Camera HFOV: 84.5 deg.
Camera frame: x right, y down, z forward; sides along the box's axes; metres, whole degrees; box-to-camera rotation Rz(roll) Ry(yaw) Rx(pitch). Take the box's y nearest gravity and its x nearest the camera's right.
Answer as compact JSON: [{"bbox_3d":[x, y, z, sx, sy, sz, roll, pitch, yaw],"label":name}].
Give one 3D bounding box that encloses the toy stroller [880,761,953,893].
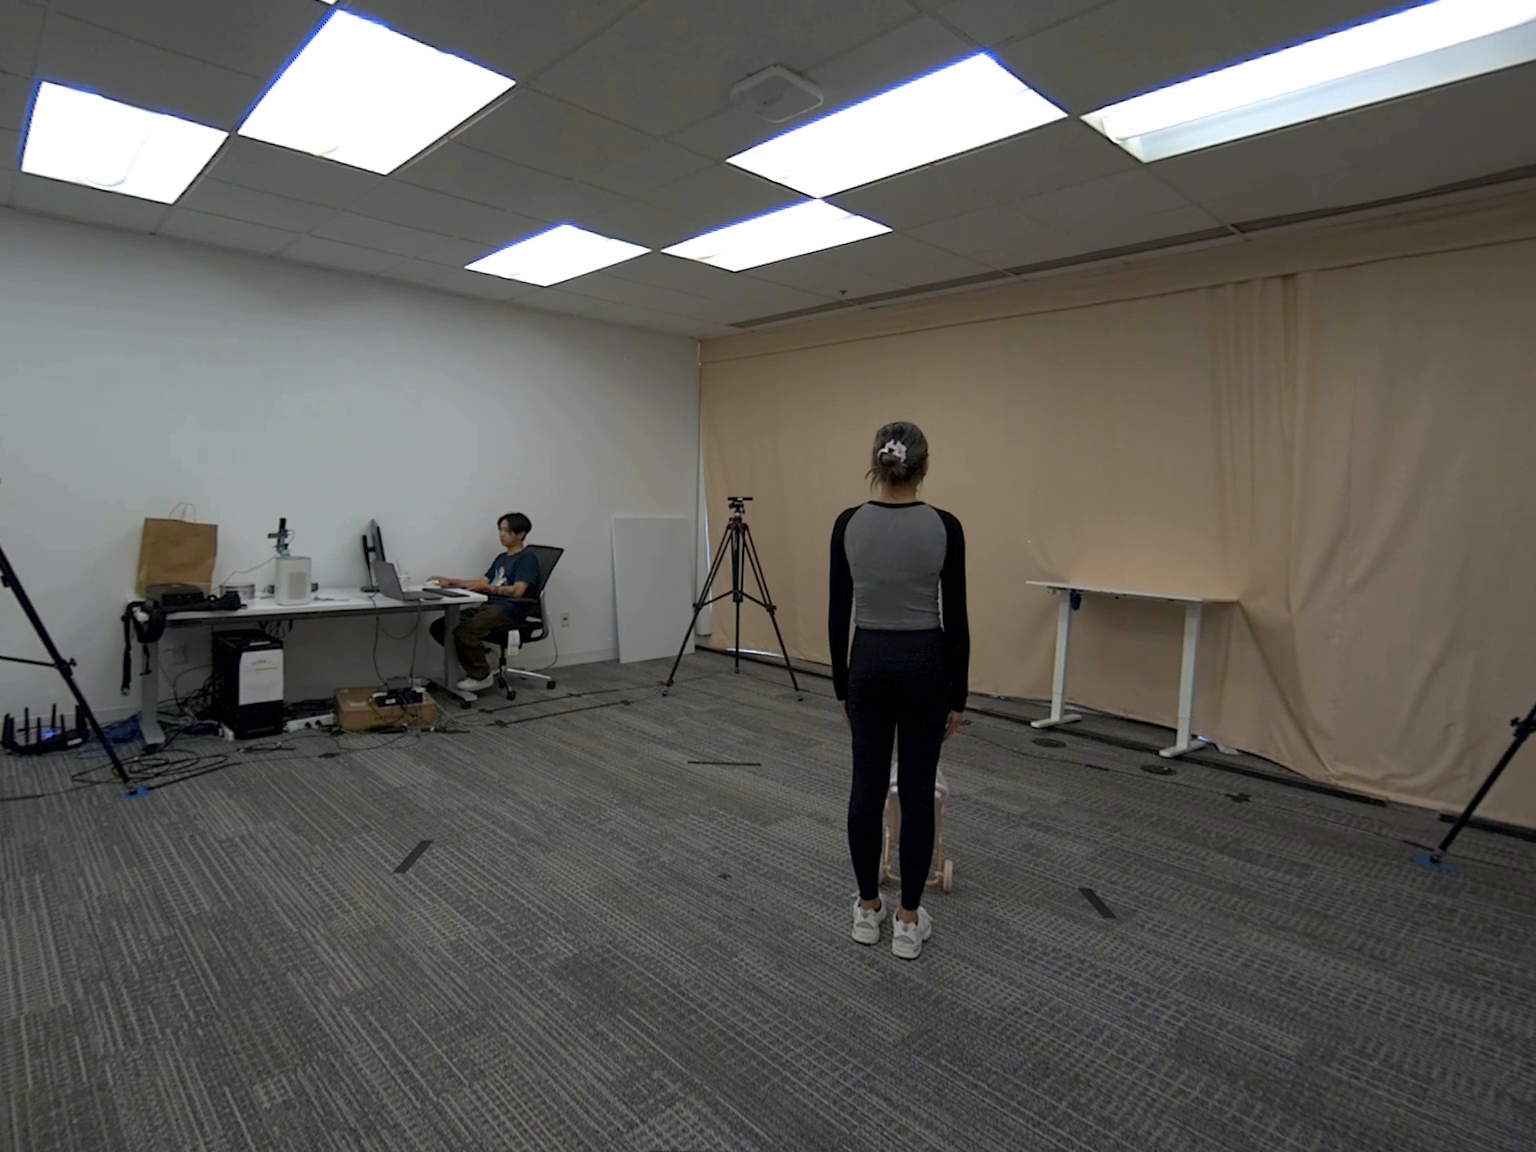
[{"bbox_3d":[0.542,0.901,3.107,0.285,0.528,0.341,3,19,16],"label":"toy stroller"}]
